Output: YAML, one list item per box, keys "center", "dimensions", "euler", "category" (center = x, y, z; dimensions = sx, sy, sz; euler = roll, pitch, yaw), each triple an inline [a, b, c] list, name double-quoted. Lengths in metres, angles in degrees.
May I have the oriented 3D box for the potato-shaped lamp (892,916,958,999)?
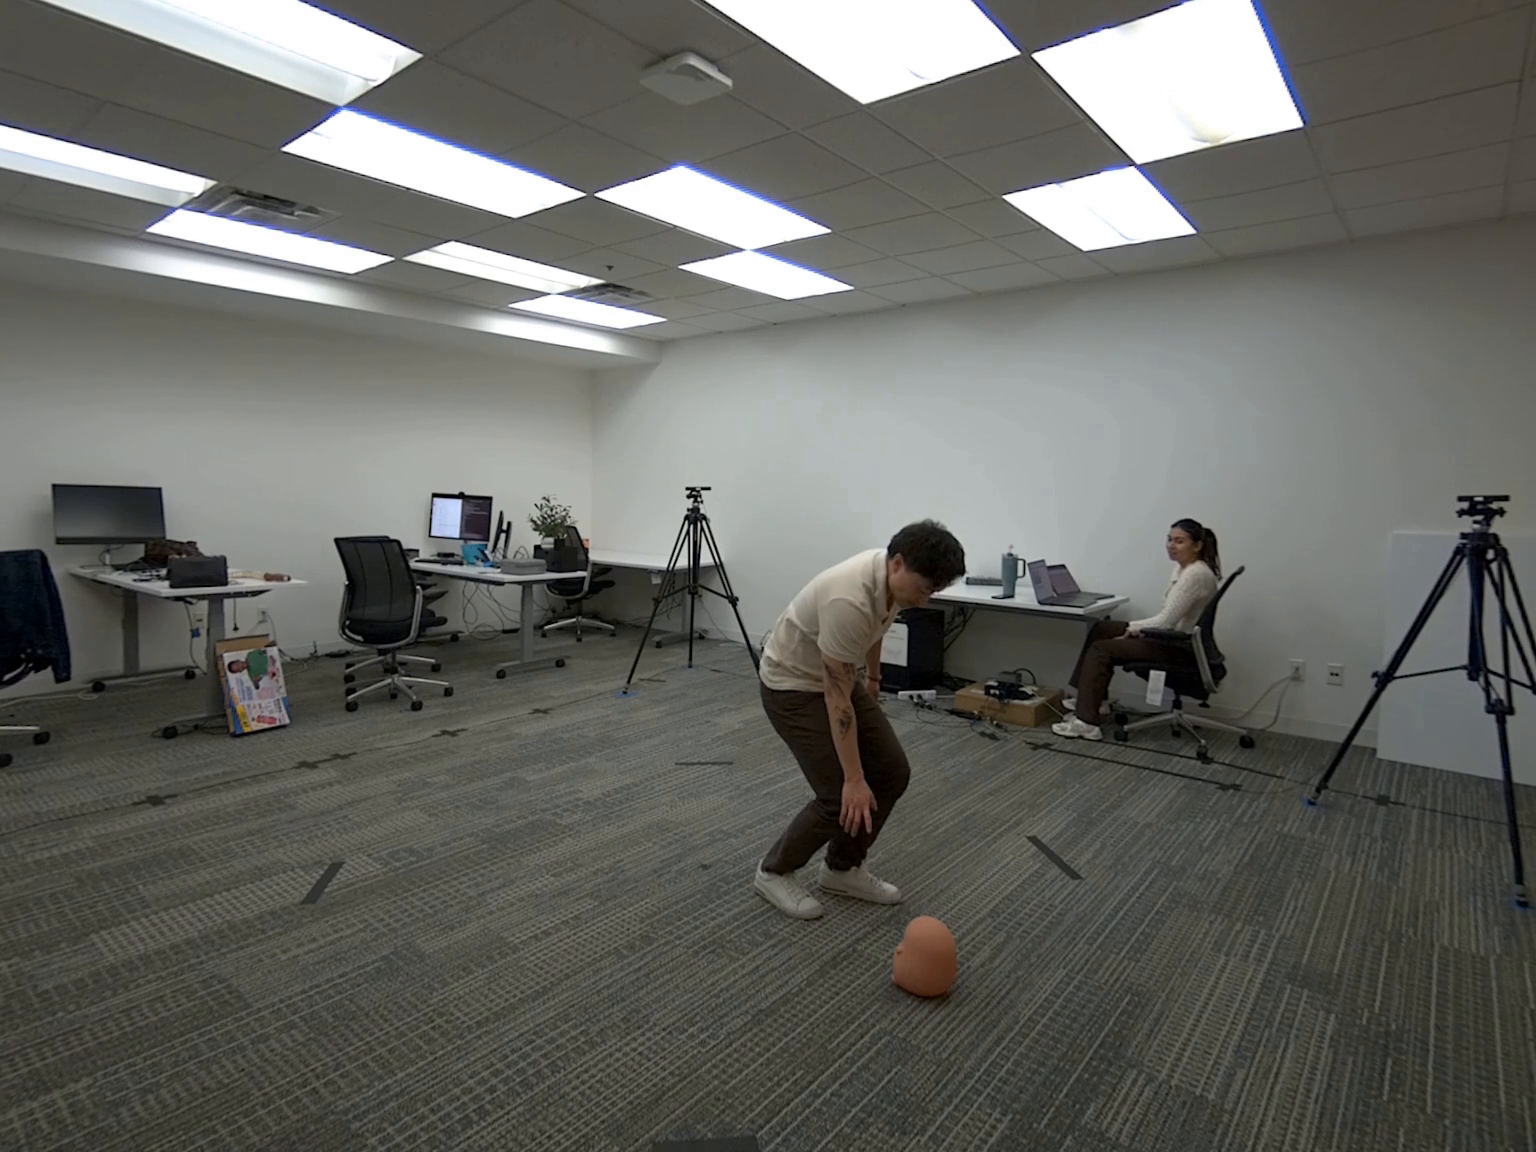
- center: [0.435, 1.046, 2.387]
  dimensions: [0.177, 0.198, 0.159]
  euler: [6, 3, 43]
  category: "potato-shaped lamp"
